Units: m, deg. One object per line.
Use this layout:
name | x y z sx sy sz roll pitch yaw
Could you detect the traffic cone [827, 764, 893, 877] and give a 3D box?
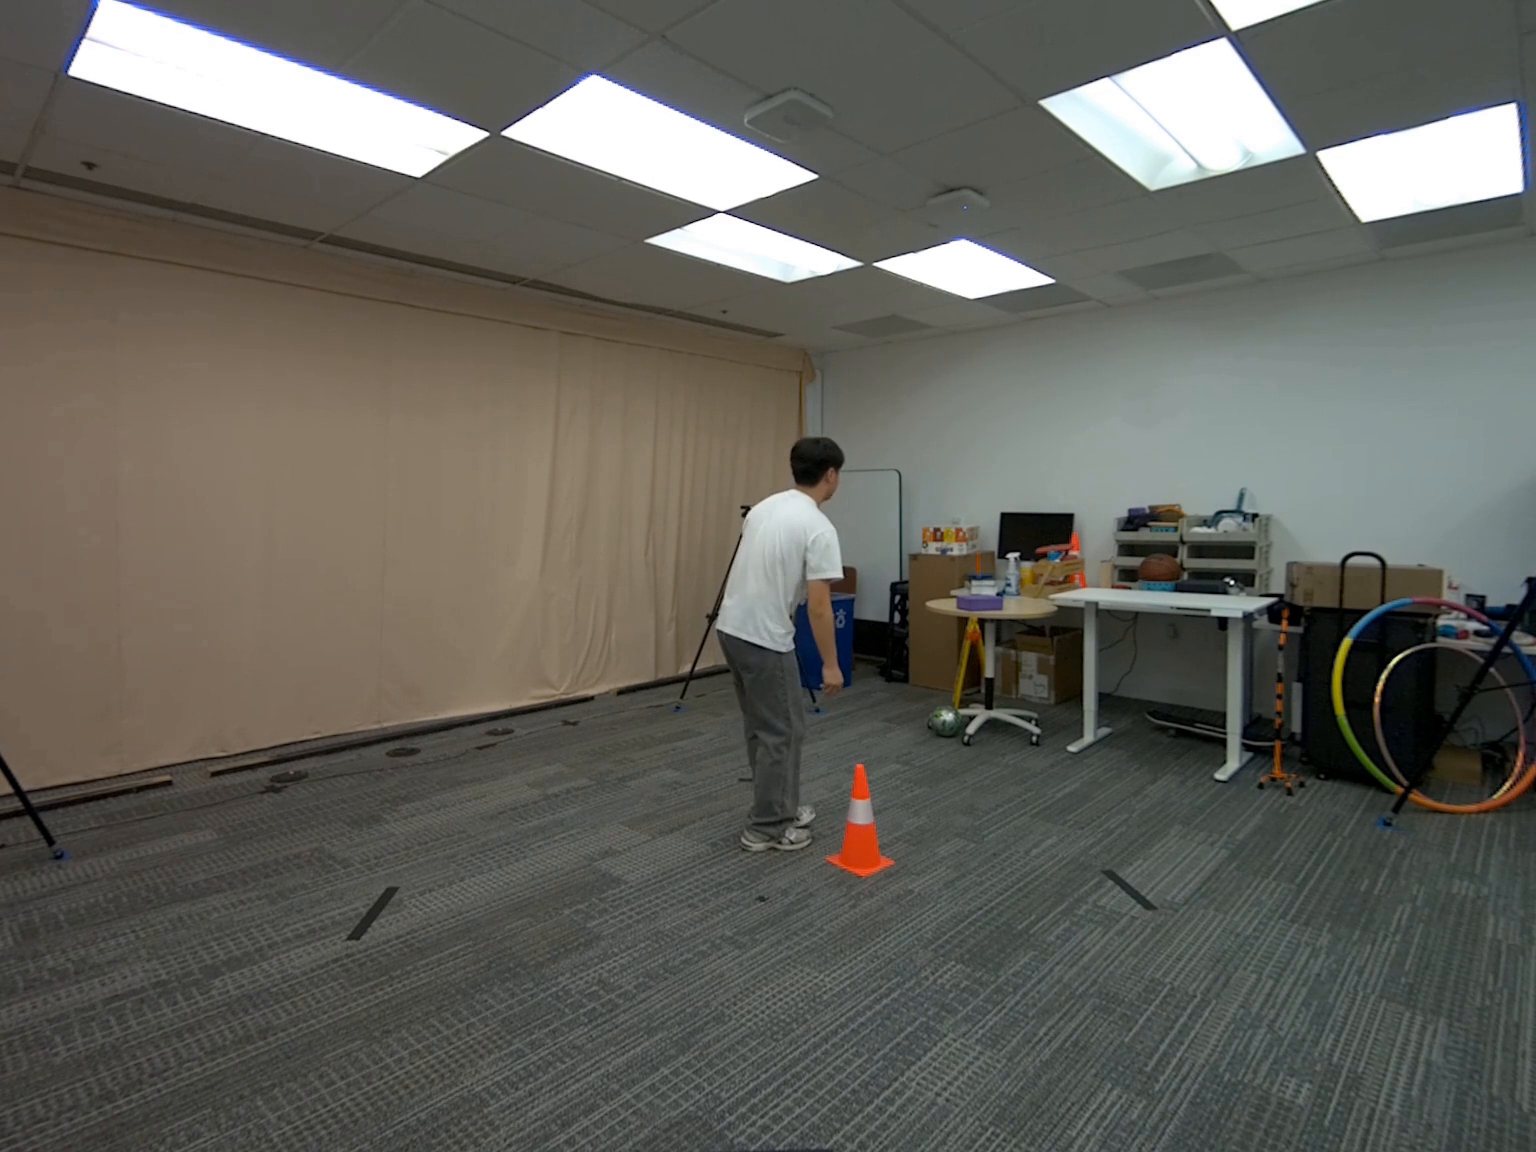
traffic cone | 0.369 0.934 3.283 0.199 0.383 0.210 -3 5 -44
